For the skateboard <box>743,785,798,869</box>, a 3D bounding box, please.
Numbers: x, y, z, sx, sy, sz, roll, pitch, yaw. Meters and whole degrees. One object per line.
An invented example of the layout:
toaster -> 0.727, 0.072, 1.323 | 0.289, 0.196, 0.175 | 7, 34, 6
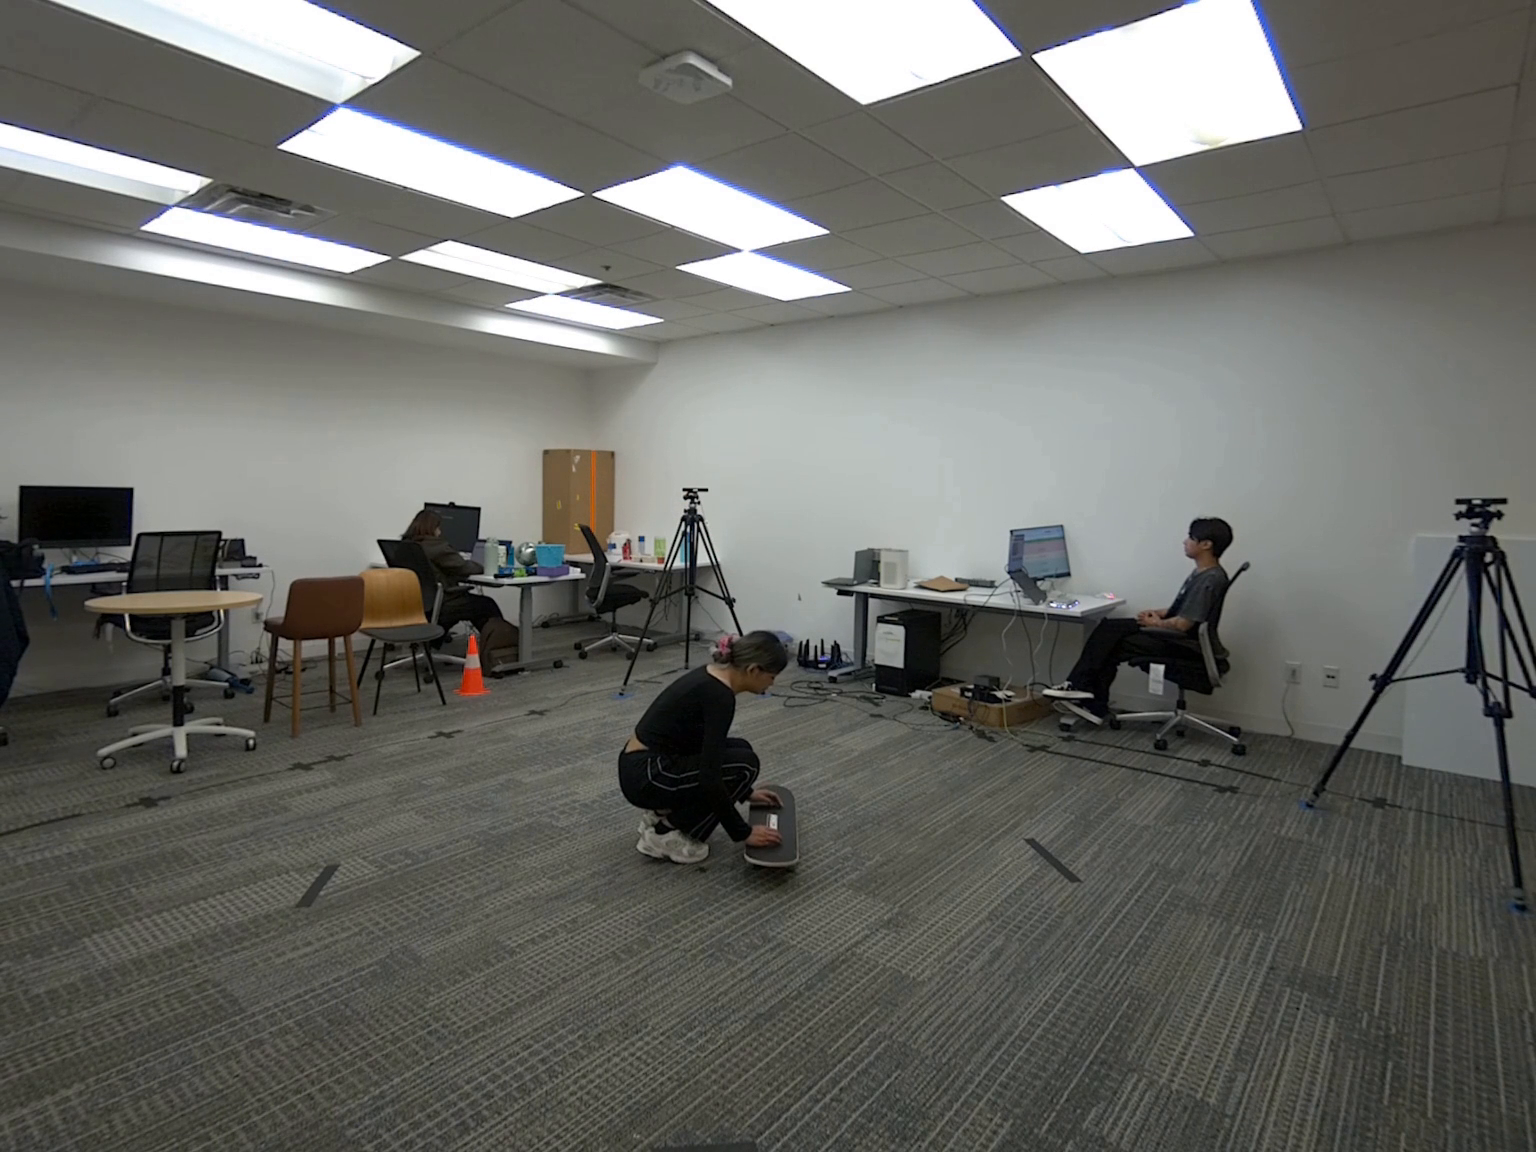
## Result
skateboard -> 0.004, 0.991, 3.313 | 0.194, 0.110, 0.786 | 1, 6, 1
